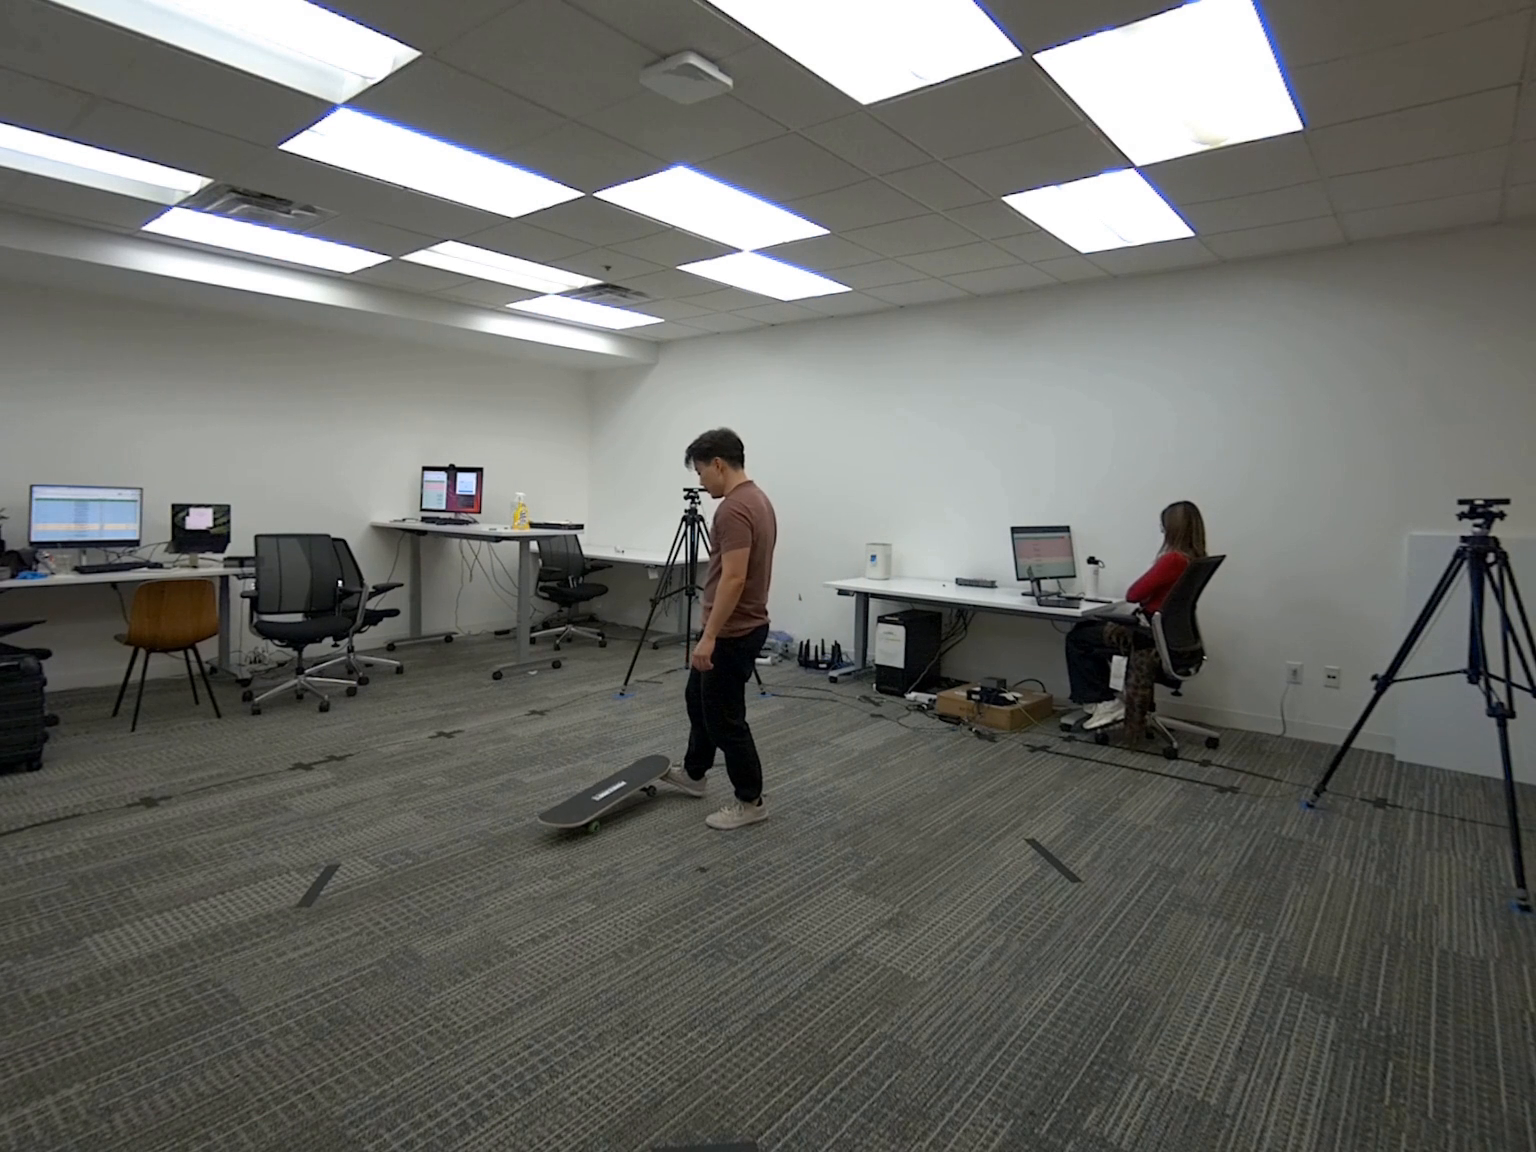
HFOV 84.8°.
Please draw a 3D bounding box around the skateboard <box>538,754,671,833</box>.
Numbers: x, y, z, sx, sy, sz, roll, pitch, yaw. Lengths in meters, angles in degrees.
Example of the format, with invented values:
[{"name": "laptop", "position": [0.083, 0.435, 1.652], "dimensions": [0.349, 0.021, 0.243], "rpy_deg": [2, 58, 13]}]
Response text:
[{"name": "skateboard", "position": [-0.685, 0.944, 3.624], "dimensions": [0.199, 0.109, 0.769], "rpy_deg": [5, 11, 28]}]
